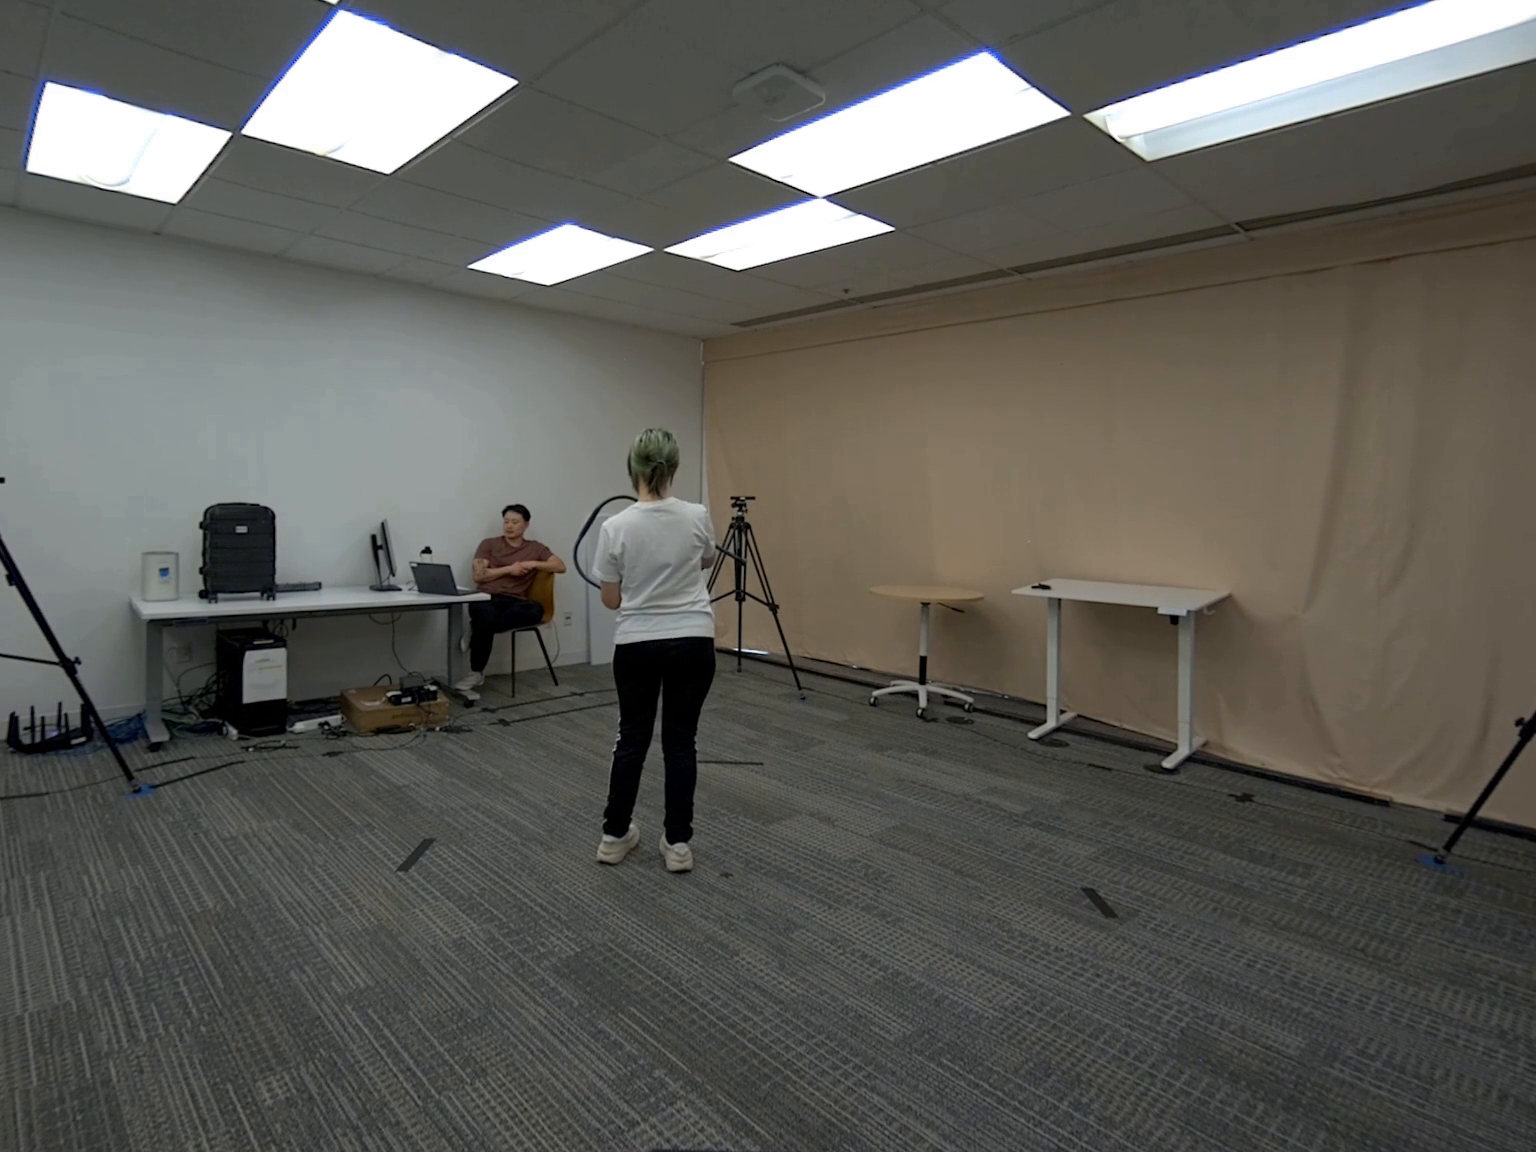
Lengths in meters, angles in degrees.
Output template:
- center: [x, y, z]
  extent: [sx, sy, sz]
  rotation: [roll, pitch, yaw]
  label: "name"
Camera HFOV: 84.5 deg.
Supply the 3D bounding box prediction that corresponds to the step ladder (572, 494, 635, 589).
- center: [-0.494, -0.056, 3.528]
  extent: [0.591, 0.431, 0.357]
  rotation: [35, -10, -26]
  label: "step ladder"
